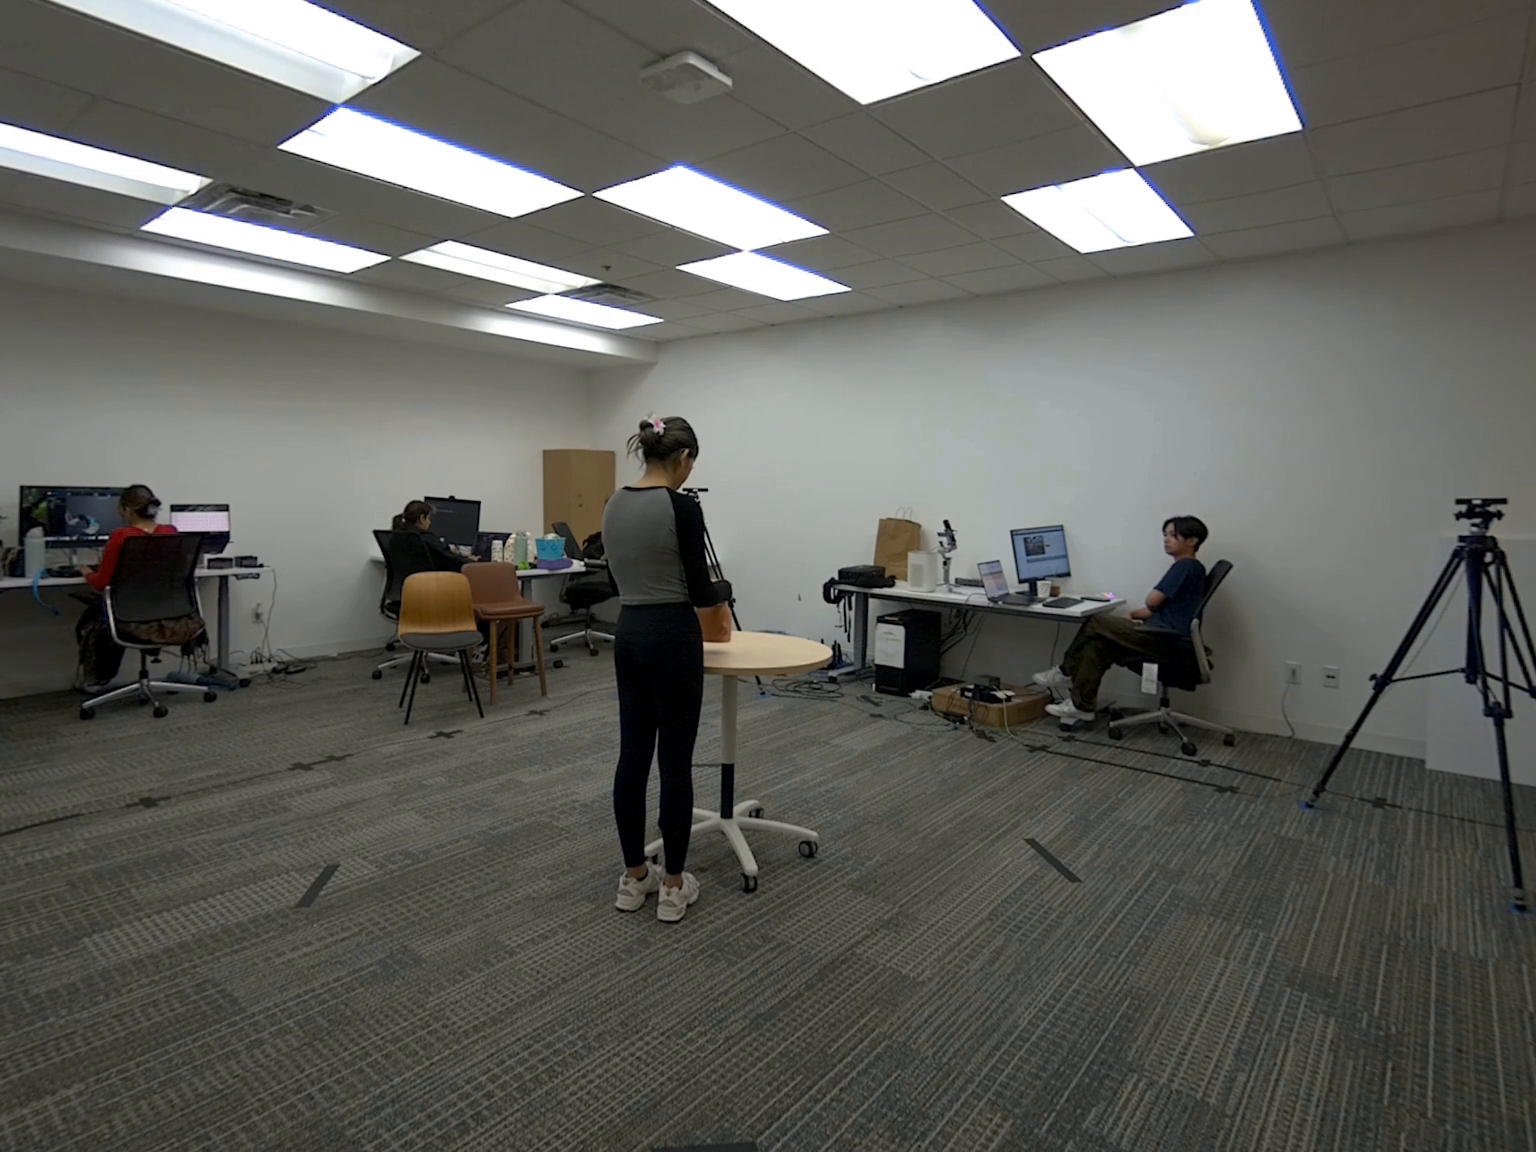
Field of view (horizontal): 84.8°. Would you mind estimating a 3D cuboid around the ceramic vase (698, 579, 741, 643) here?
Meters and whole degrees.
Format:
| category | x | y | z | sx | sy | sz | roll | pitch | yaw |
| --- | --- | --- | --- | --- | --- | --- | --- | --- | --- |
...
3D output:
| category | x | y | z | sx | sy | sz | roll | pitch | yaw |
| --- | --- | --- | --- | --- | --- | --- | --- | --- | --- |
| ceramic vase | -0.203 | 0.122 | 3.100 | 0.162 | 0.220 | 0.132 | 2 | 1 | 18 |
